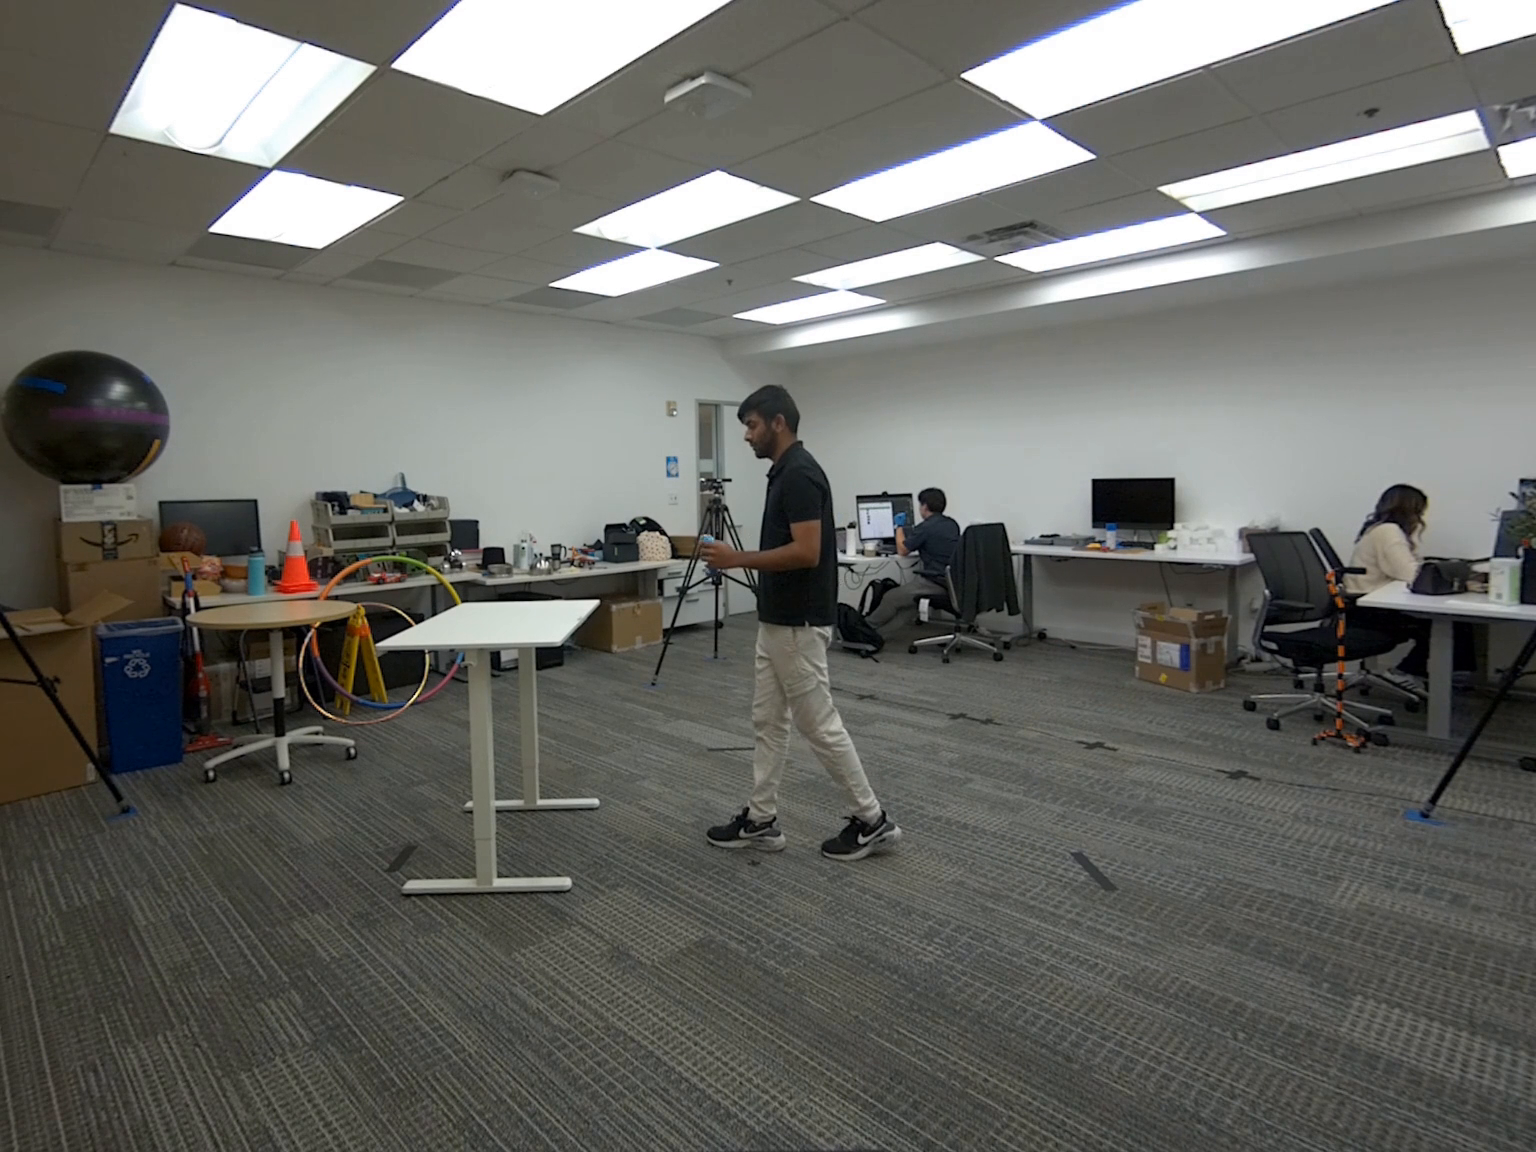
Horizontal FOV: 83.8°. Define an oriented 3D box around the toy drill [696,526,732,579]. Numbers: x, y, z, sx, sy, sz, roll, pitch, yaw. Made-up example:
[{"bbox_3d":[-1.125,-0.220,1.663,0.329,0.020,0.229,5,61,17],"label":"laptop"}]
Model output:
[{"bbox_3d":[-0.200,-0.089,3.105,0.060,0.144,0.175,-11,17,-19],"label":"toy drill"}]
